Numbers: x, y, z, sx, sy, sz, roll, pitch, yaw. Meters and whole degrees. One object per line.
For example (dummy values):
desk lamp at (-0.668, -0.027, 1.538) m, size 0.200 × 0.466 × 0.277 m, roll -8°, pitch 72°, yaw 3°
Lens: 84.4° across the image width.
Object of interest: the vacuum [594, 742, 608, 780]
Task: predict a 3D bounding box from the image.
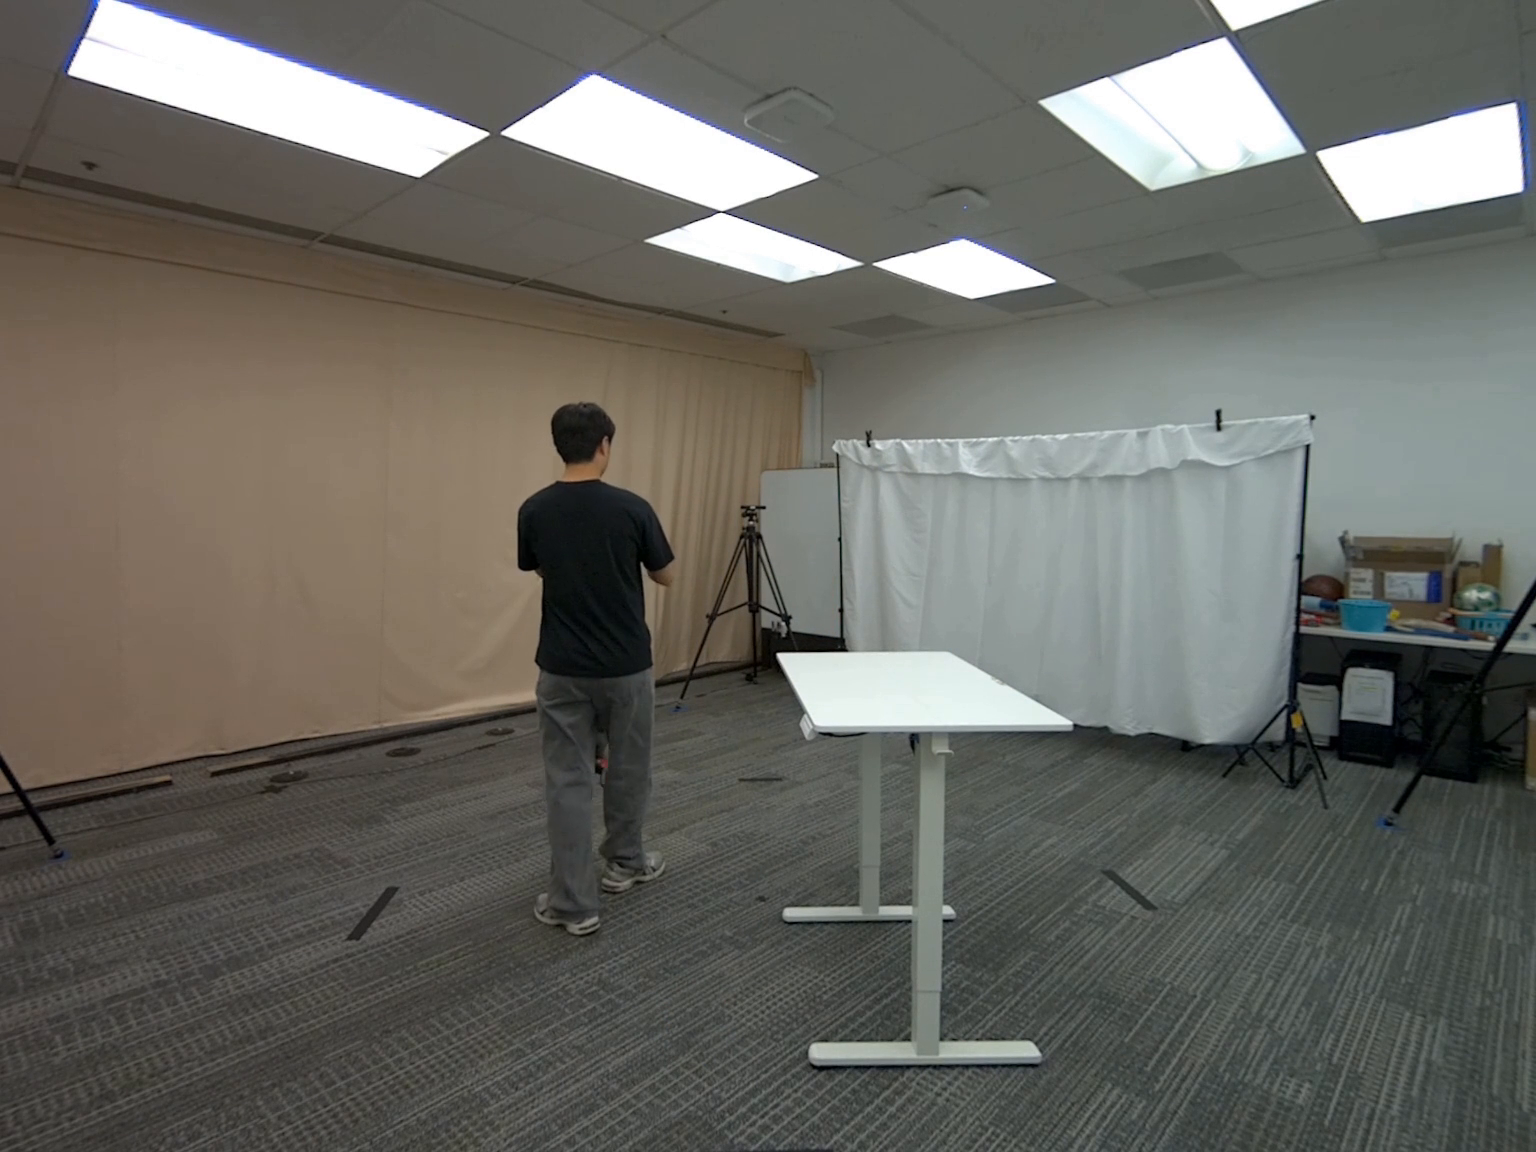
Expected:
vacuum at (-0.631, 0.252, 3.284) m, size 0.144 × 1.047 × 0.253 m, roll 0°, pitch 4°, yaw -2°
